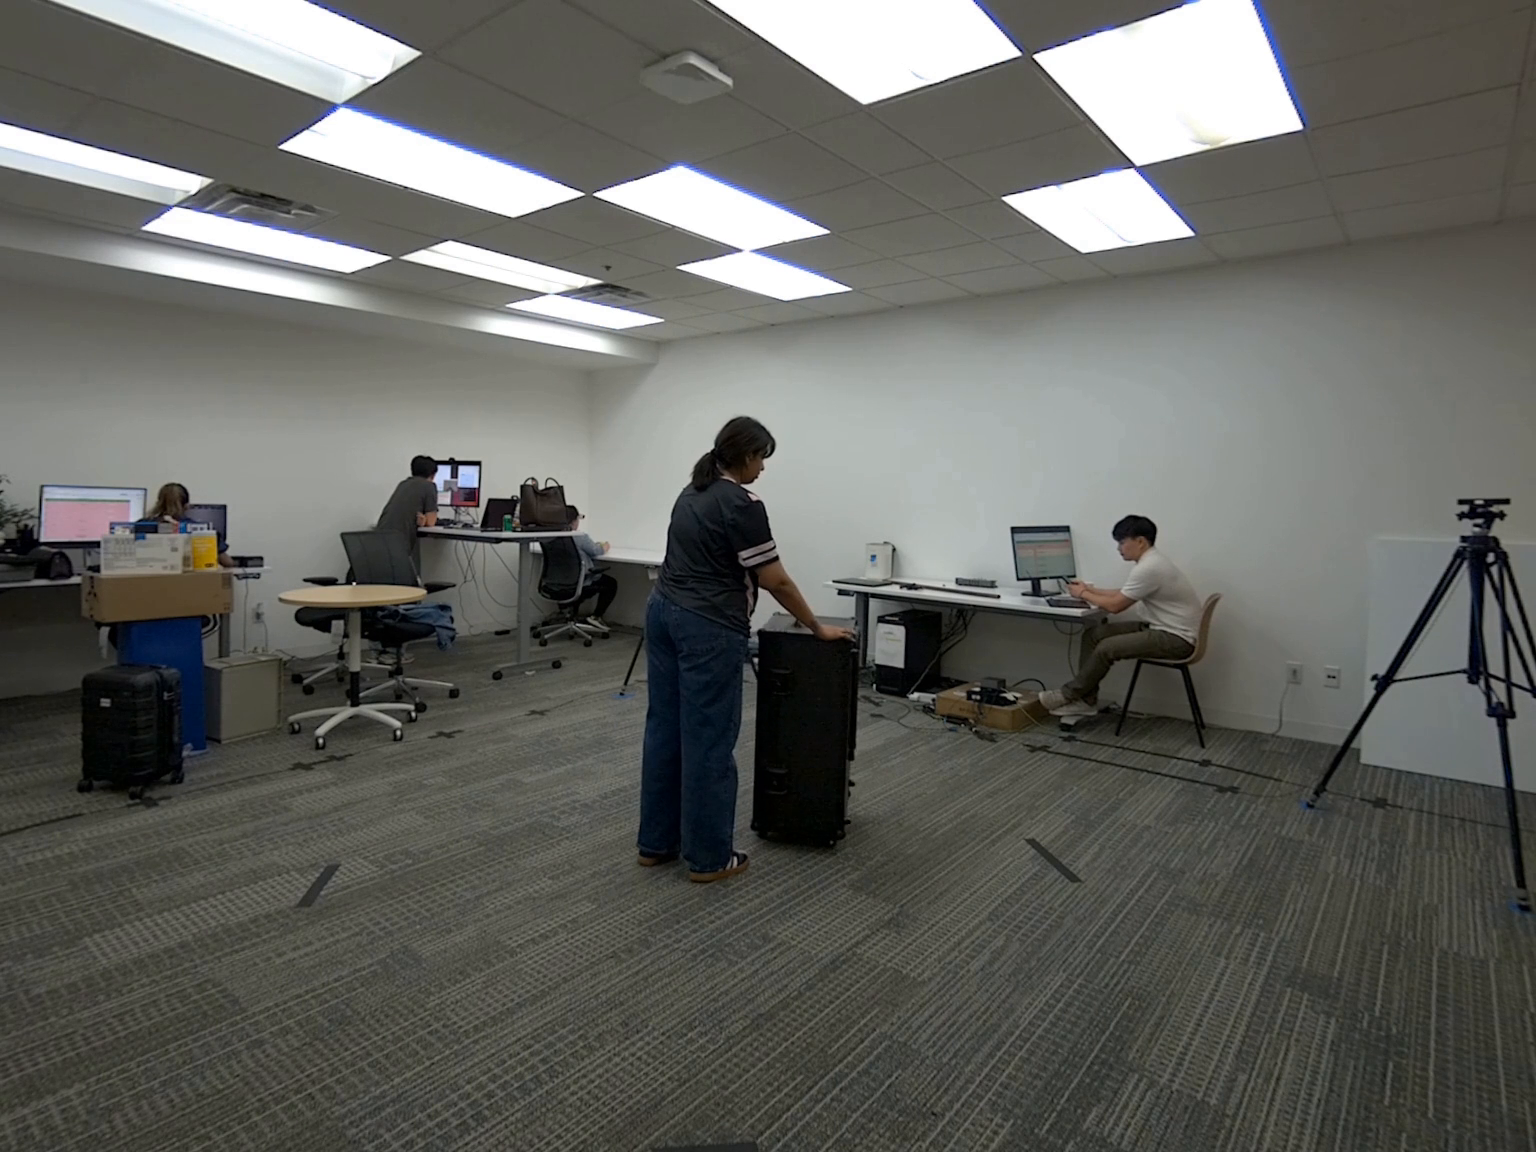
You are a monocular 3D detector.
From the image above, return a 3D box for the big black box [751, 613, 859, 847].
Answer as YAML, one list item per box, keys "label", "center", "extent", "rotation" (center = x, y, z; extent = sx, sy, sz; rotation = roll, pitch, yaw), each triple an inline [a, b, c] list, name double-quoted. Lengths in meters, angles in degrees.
- label: "big black box"
  center: [0.159, 0.618, 3.485]
  extent: [0.389, 0.865, 0.520]
  rotation: [3, 4, 8]
